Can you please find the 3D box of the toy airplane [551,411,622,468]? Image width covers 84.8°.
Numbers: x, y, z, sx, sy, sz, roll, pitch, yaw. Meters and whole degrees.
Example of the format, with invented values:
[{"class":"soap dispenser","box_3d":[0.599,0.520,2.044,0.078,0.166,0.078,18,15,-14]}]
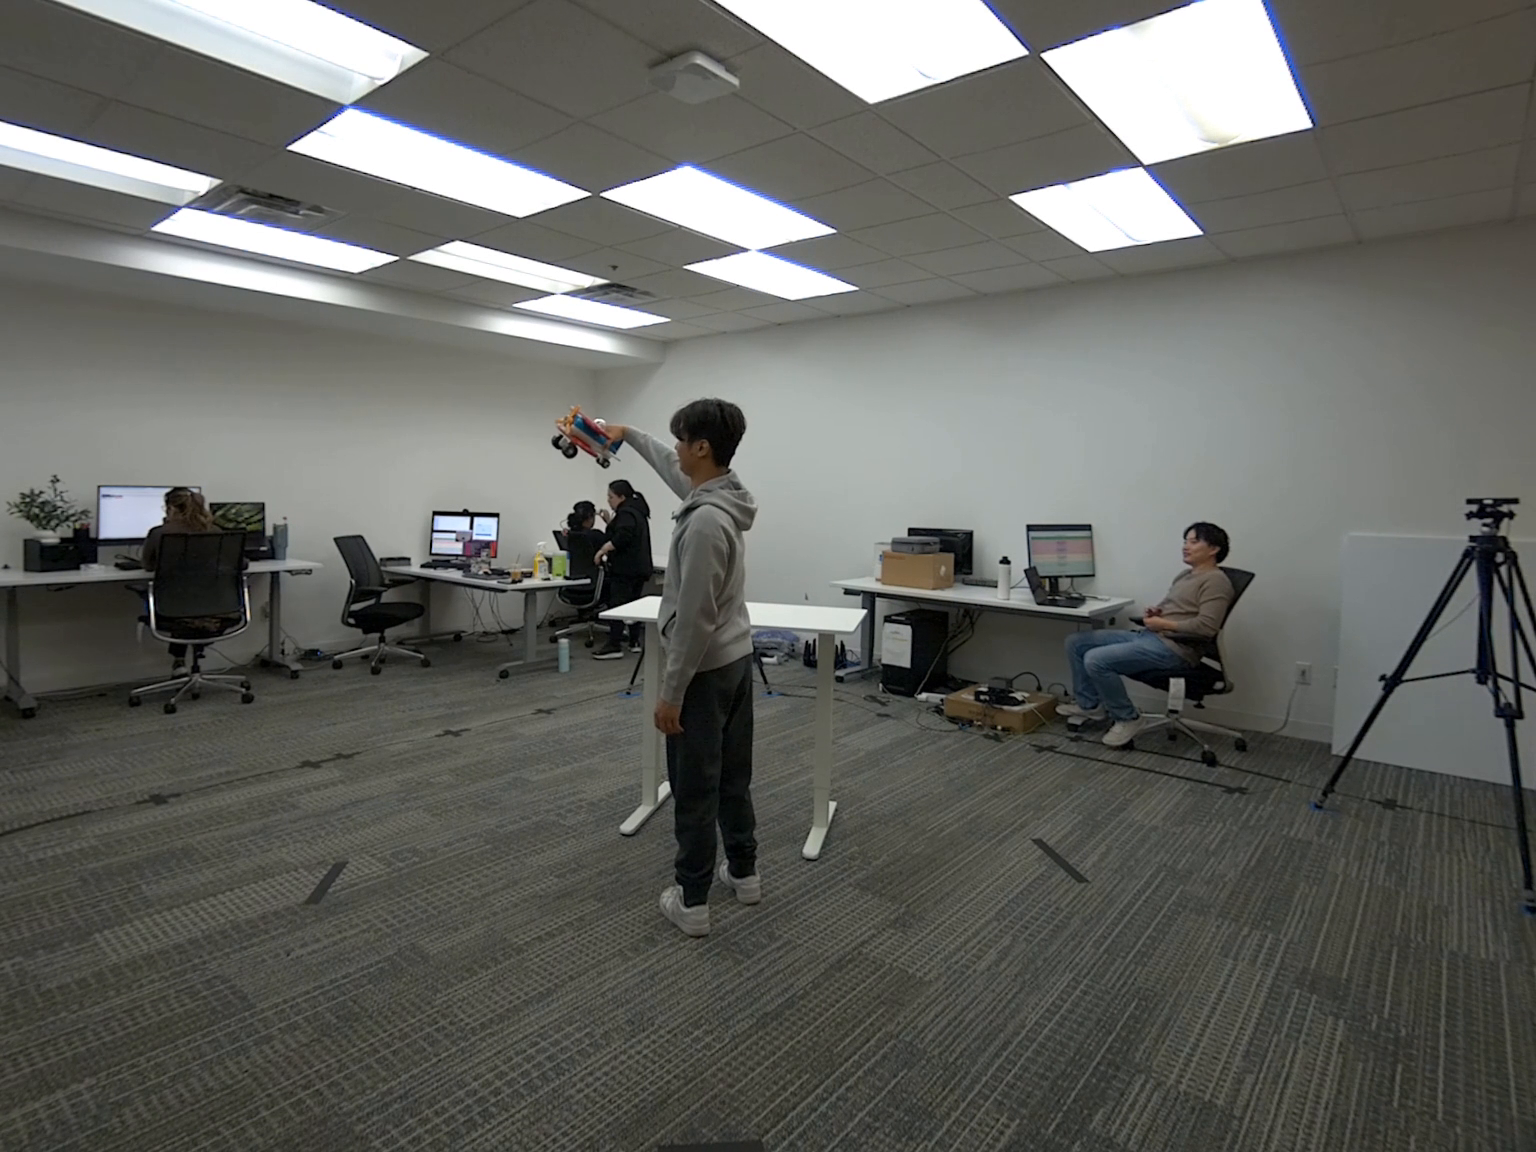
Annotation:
[{"class":"toy airplane","box_3d":[-0.663,-0.492,3.054,0.257,0.156,0.254,30,13,16]}]
